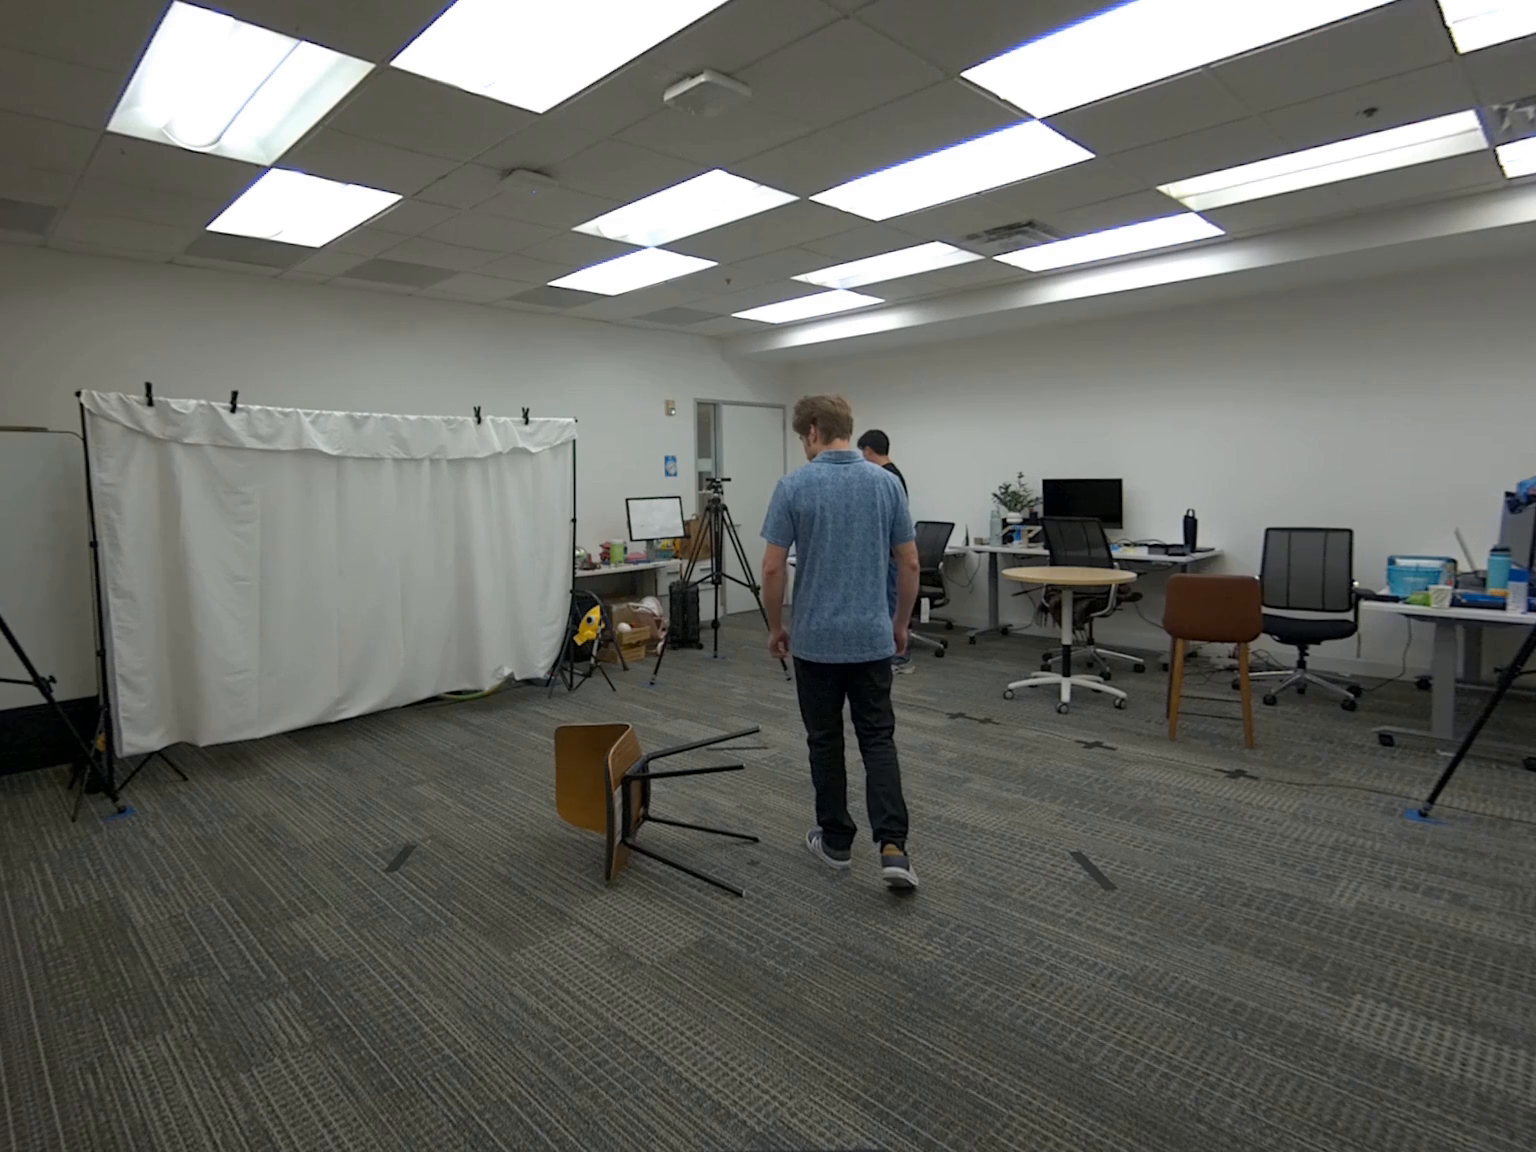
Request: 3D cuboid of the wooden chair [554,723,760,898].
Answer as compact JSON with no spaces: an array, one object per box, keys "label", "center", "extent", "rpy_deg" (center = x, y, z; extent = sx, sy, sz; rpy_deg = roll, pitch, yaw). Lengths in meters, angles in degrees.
[{"label":"wooden chair","center":[-0.479,0.817,3.113],"extent":[0.889,0.476,0.519],"rpy_deg":[2,6,13]}]
